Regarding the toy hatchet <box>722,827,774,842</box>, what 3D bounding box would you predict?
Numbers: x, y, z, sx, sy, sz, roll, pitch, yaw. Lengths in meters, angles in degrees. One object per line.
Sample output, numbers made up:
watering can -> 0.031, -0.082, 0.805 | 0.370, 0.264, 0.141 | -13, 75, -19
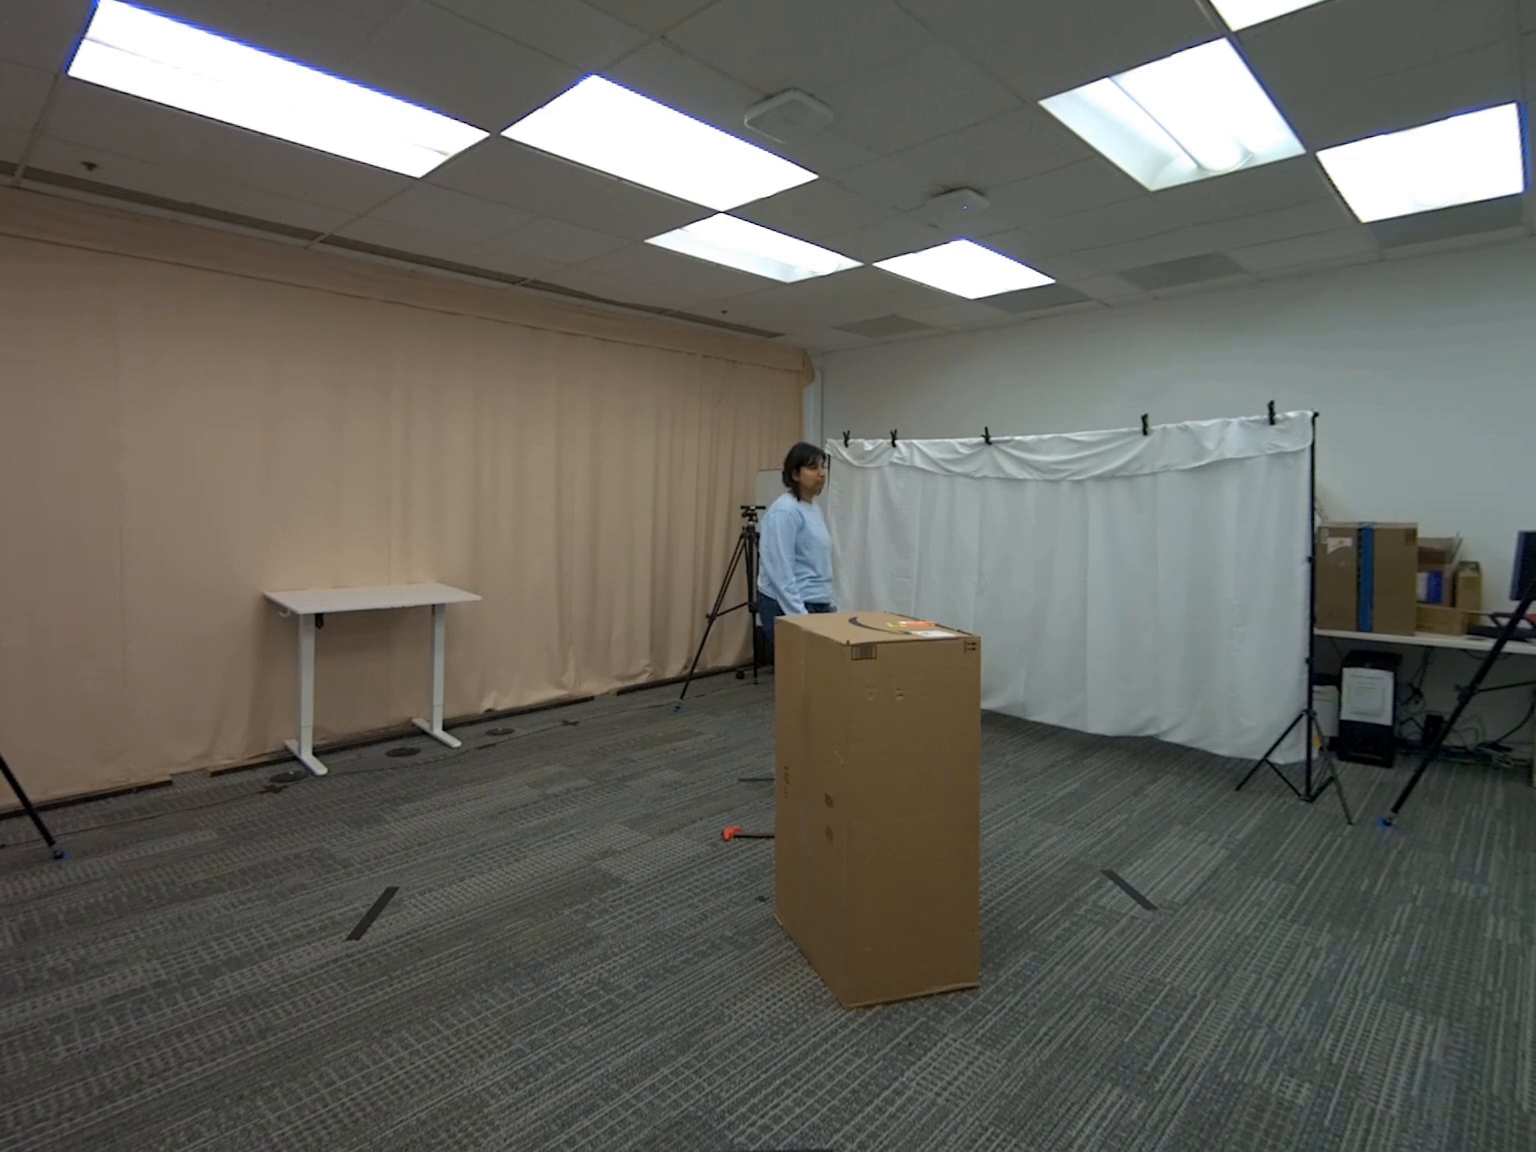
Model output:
toy hatchet -> -0.064, 1.084, 3.567 | 0.266, 0.029, 0.133 | 1, 3, -13
